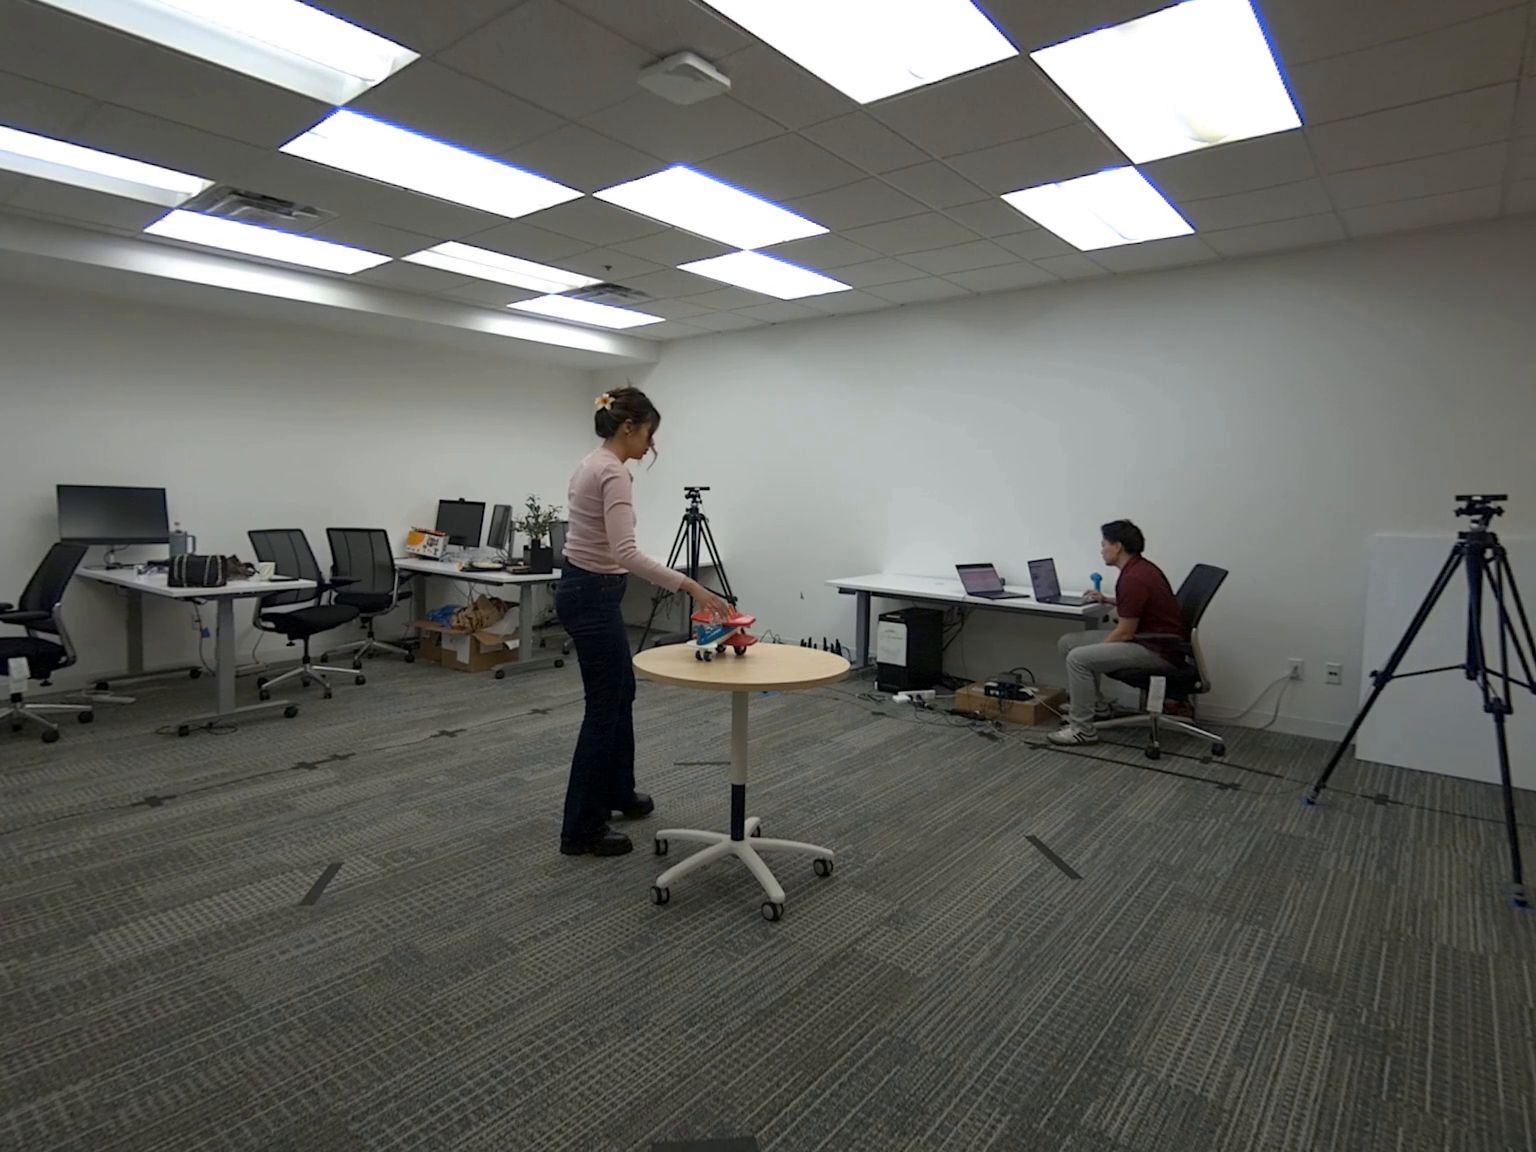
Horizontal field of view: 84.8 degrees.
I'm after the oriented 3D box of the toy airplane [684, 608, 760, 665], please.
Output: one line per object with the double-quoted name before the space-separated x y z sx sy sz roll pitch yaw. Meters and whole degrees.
"toy airplane" -0.164 0.213 3.051 0.252 0.156 0.259 2 3 3
